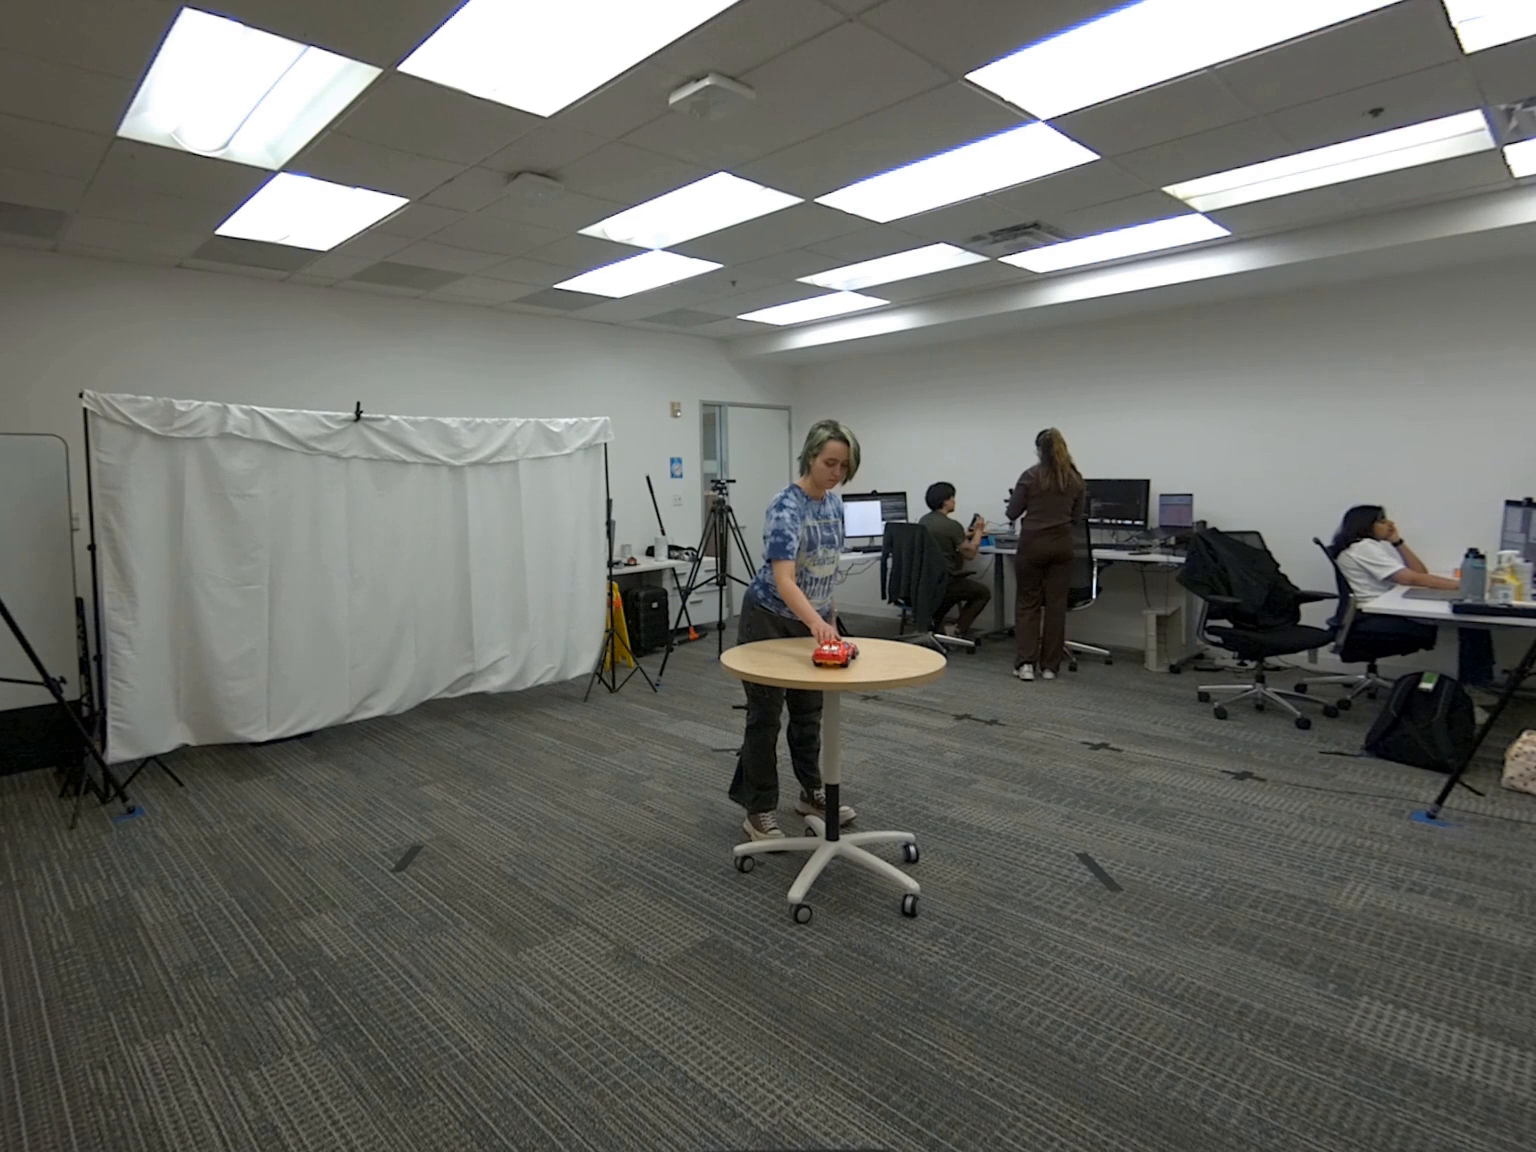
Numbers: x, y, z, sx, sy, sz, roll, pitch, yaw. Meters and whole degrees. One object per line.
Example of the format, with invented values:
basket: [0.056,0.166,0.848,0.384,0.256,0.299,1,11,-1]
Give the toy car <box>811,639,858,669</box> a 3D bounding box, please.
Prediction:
toy car: [0.225,0.259,2.832,0.132,0.084,0.249,1,-6,16]
